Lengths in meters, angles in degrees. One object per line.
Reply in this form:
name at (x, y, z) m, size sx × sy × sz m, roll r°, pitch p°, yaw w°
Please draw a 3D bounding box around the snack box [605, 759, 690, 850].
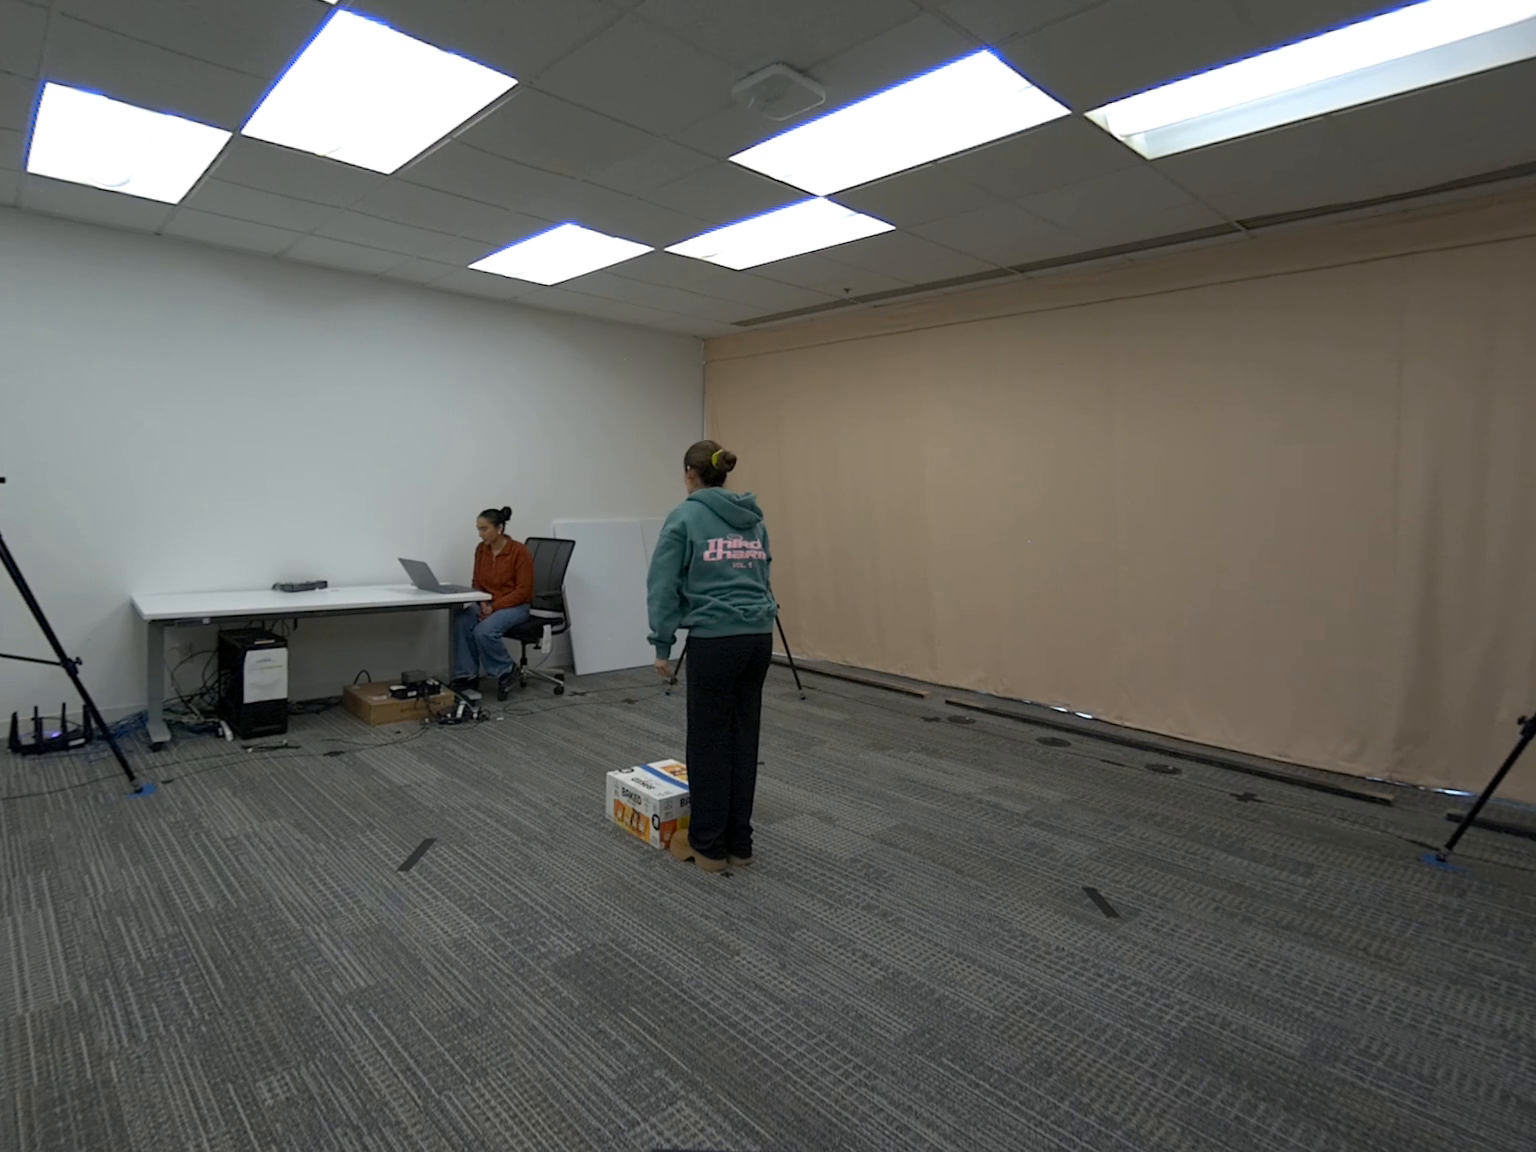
snack box at (-0.444, 0.955, 3.560) m, size 0.332 × 0.205 × 0.415 m, roll -2°, pitch 6°, yaw -40°
